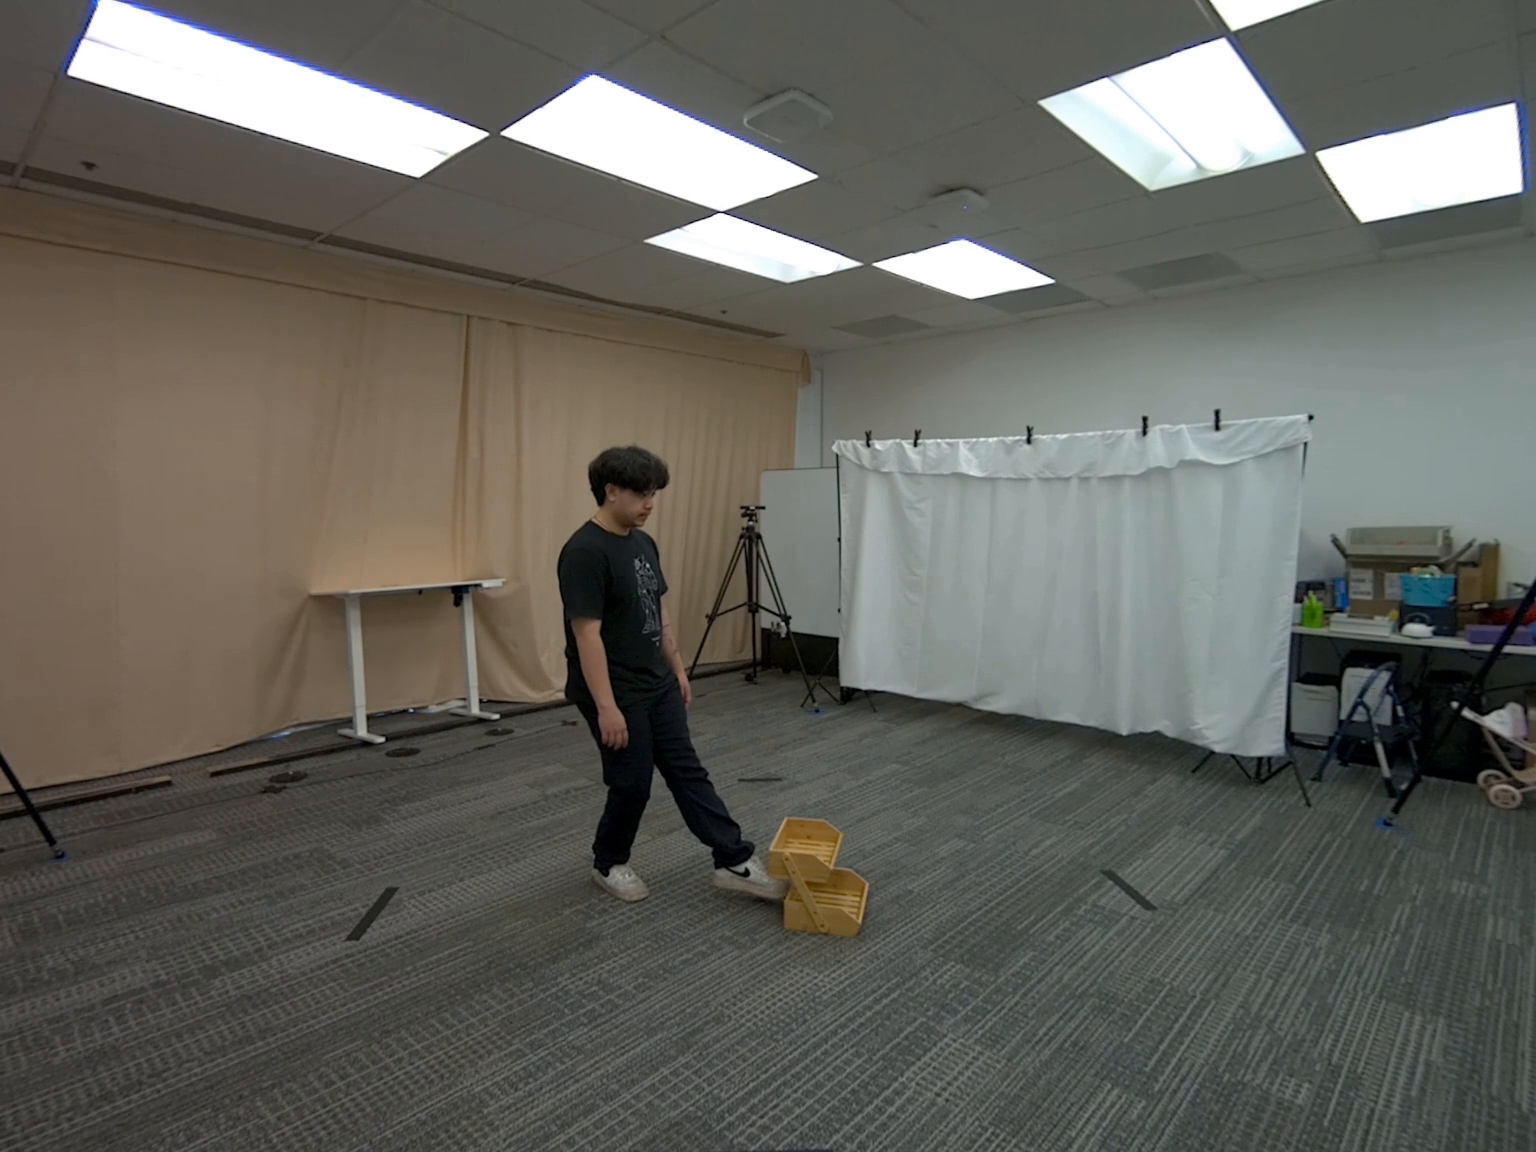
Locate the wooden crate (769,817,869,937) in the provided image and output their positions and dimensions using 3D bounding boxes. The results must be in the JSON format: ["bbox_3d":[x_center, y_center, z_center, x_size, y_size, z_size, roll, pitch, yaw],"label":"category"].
[{"bbox_3d":[0.185,1.022,2.883,0.306,0.273,0.320,1,4,13],"label":"wooden crate"}]
